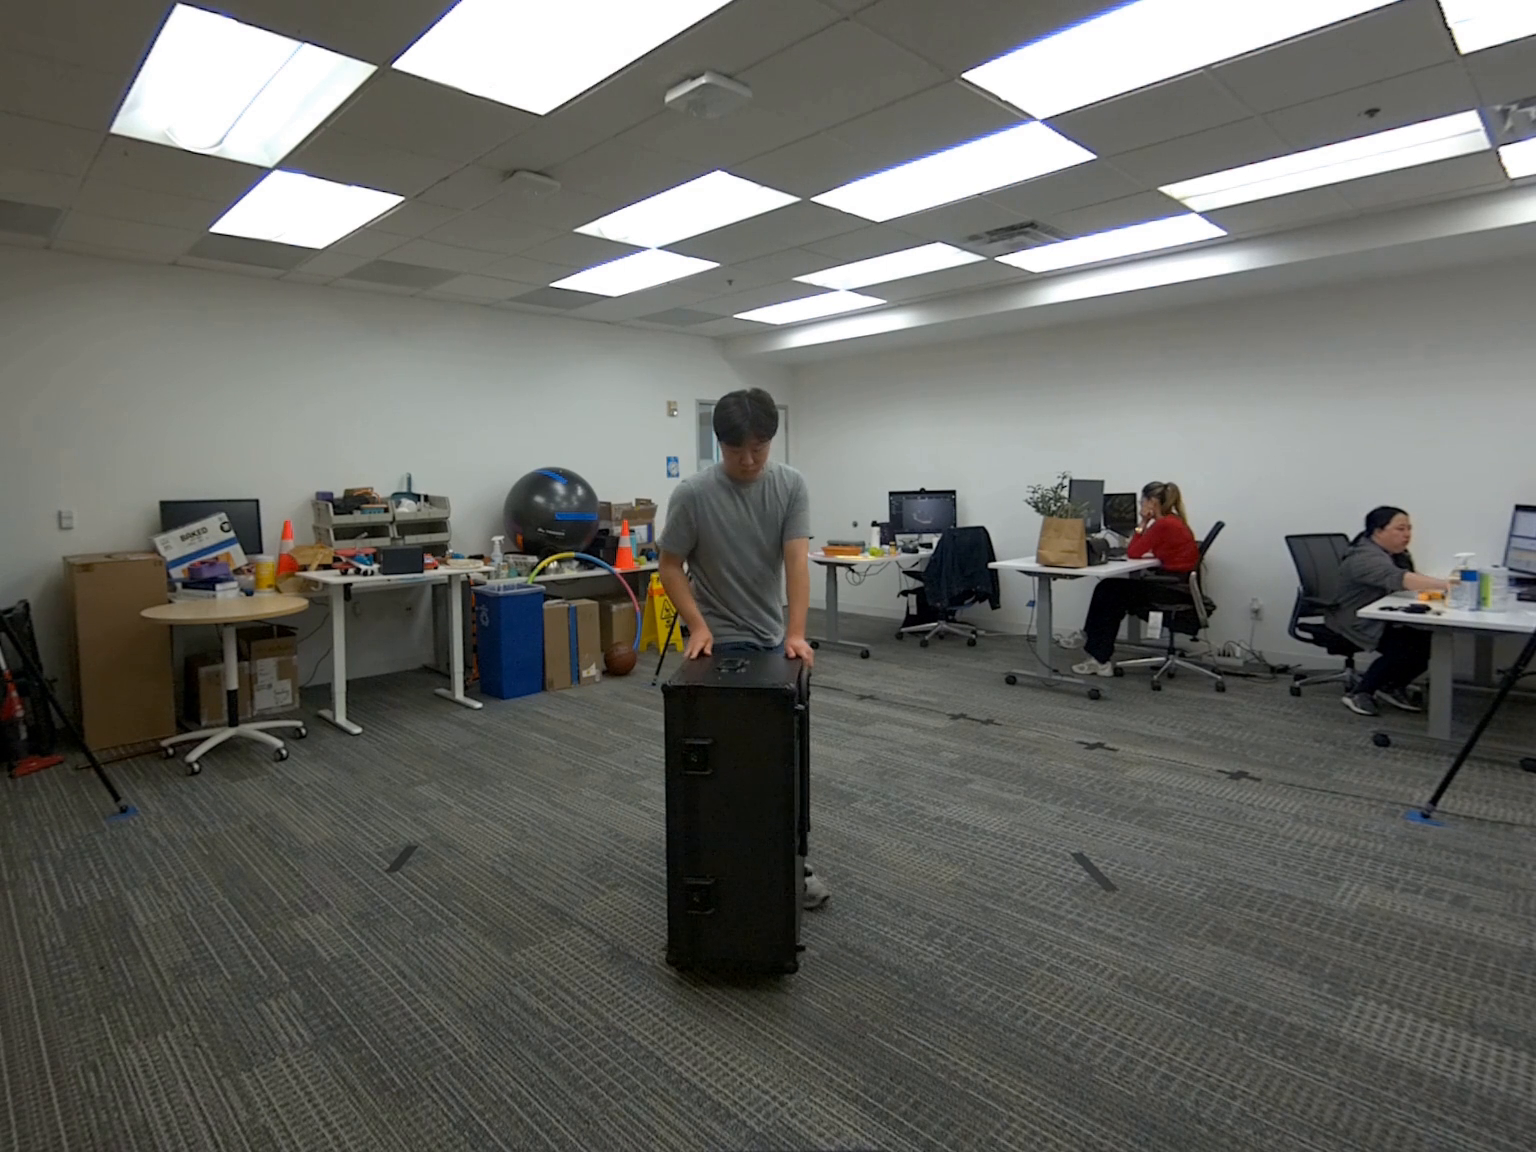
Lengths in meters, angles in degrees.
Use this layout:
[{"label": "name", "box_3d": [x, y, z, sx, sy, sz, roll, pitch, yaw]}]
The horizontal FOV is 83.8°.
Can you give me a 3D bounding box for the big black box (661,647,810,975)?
[{"label": "big black box", "box_3d": [-0.069, 0.696, 2.522, 0.399, 0.859, 0.519, 0, 4, 6]}]
